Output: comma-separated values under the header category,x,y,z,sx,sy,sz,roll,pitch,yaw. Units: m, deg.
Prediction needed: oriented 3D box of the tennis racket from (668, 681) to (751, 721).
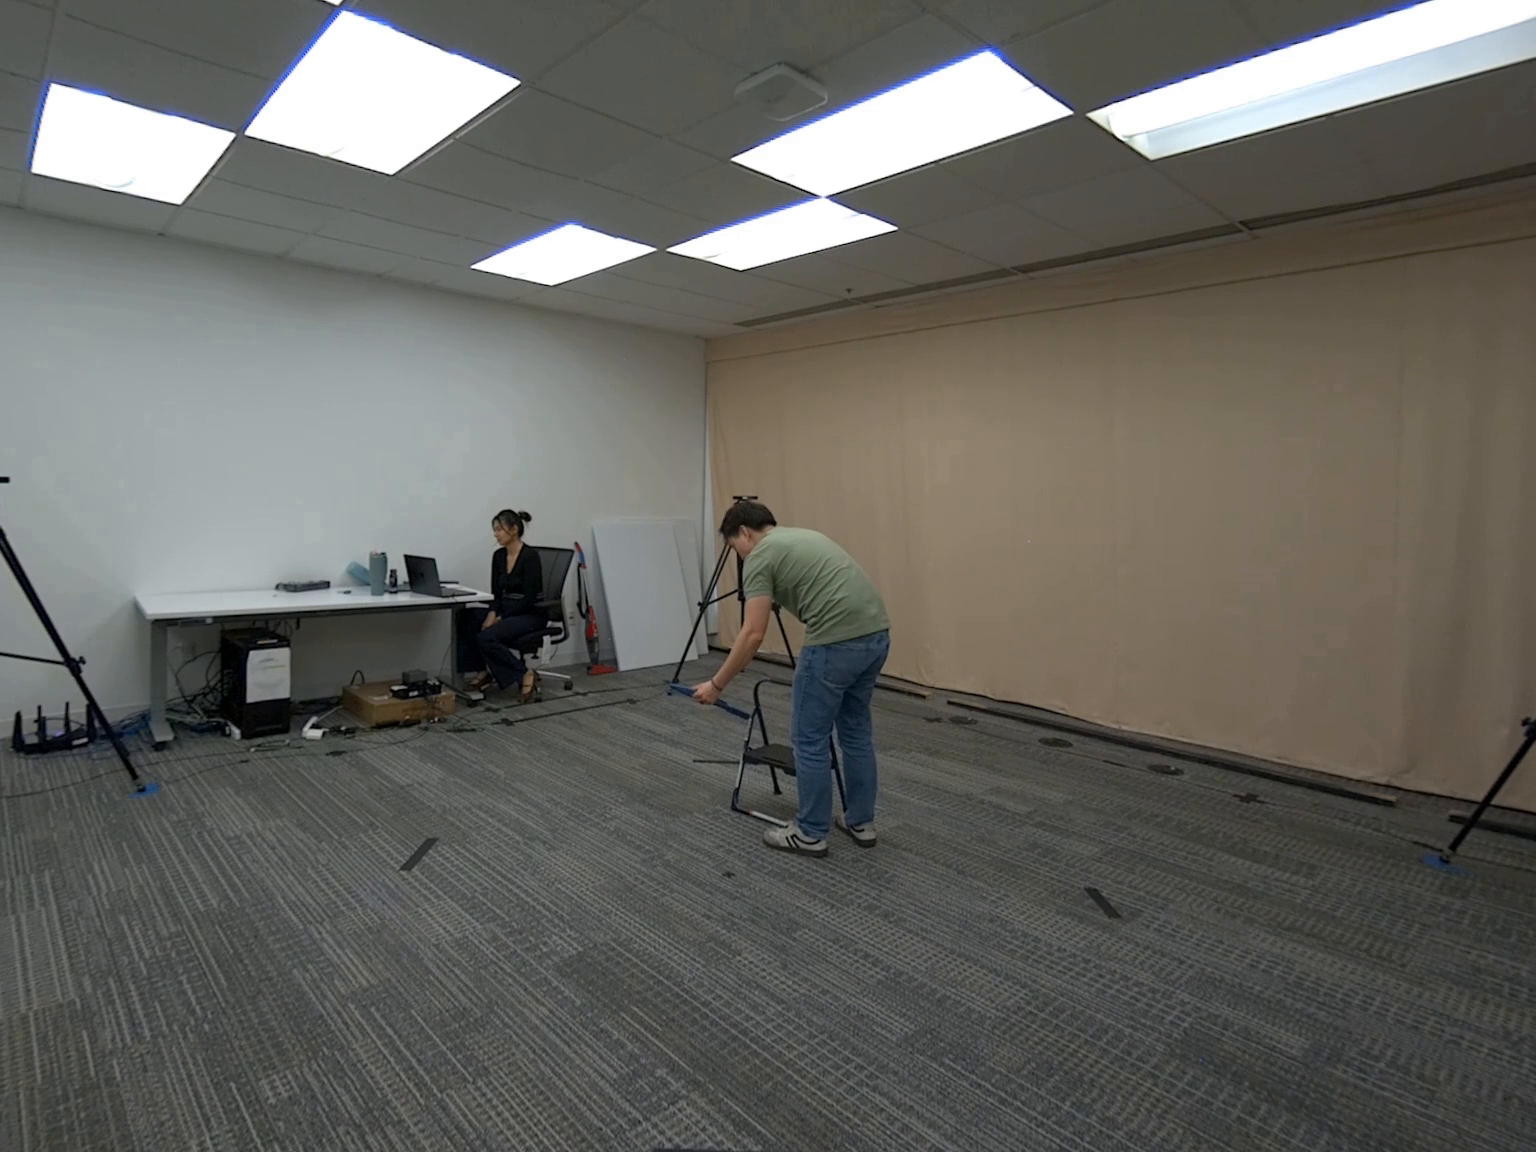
category,x,y,z,sx,sy,sz,roll,pitch,yaw
tennis racket,-0.214,0.515,3.412,0.219,0.032,0.419,7,-18,47
